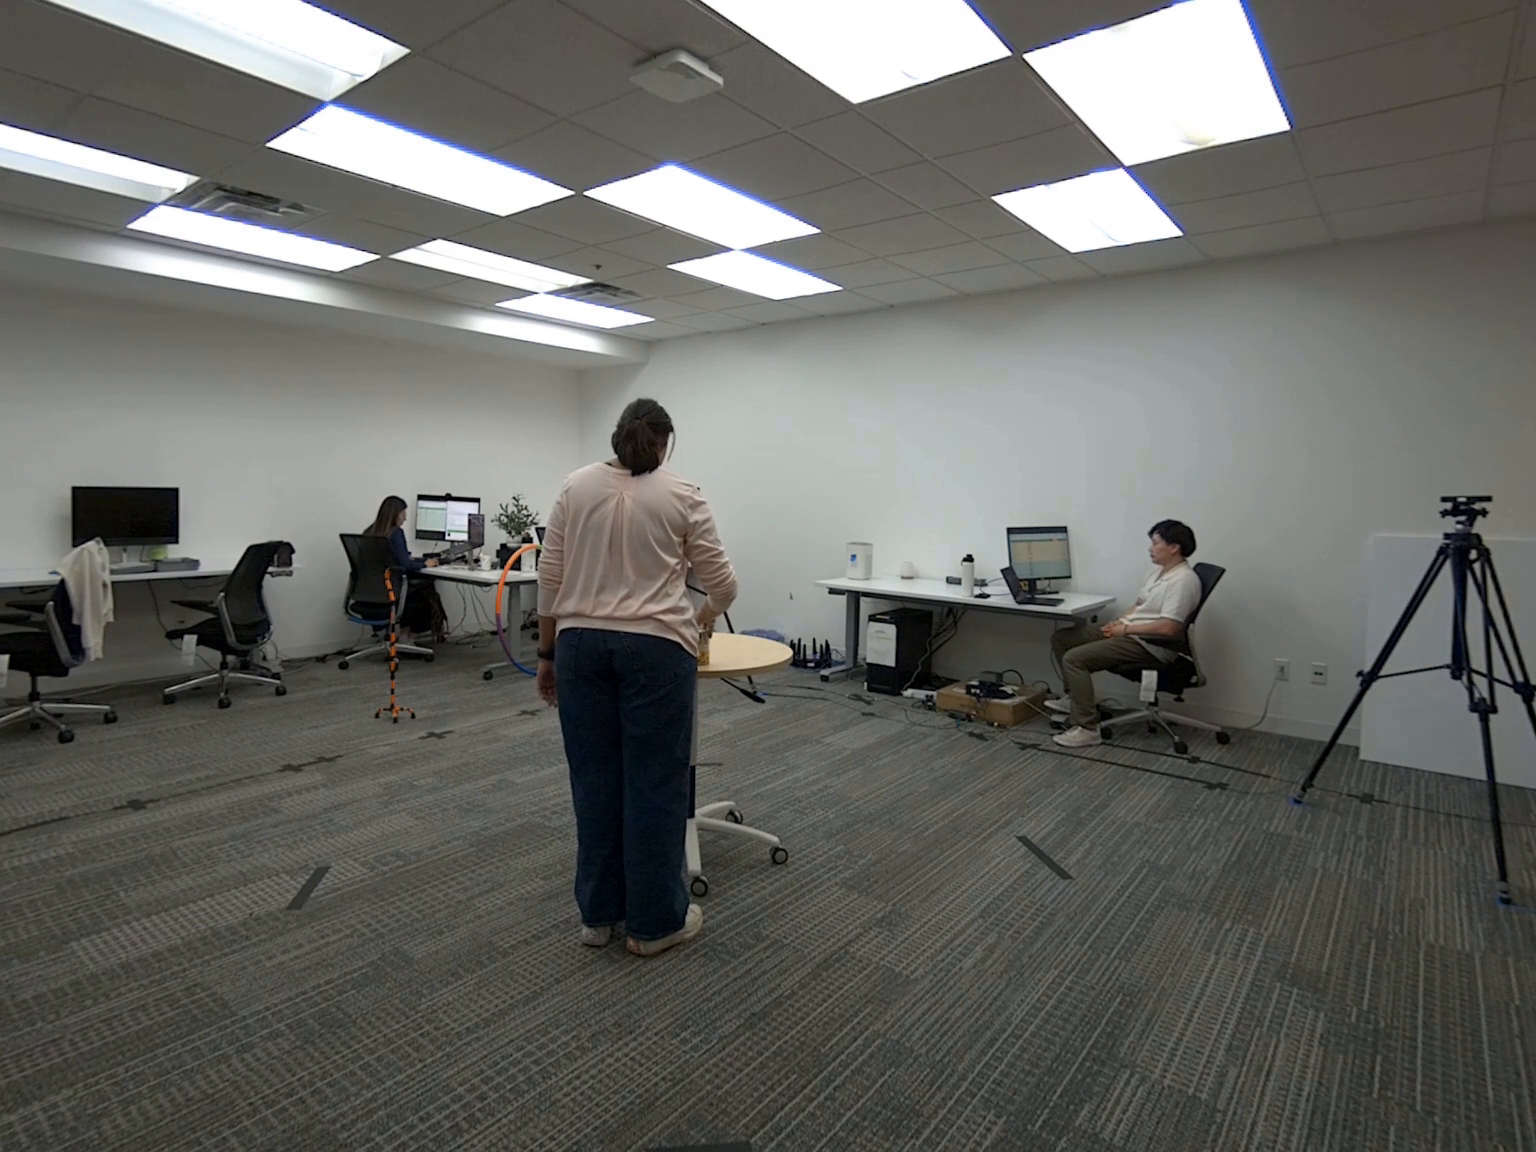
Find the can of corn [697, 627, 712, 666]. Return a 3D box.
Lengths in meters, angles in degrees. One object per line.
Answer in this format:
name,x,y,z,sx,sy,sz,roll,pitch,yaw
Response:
can of corn,-0.253,0.248,2.946,0.074,0.110,0.075,-1,6,-2
